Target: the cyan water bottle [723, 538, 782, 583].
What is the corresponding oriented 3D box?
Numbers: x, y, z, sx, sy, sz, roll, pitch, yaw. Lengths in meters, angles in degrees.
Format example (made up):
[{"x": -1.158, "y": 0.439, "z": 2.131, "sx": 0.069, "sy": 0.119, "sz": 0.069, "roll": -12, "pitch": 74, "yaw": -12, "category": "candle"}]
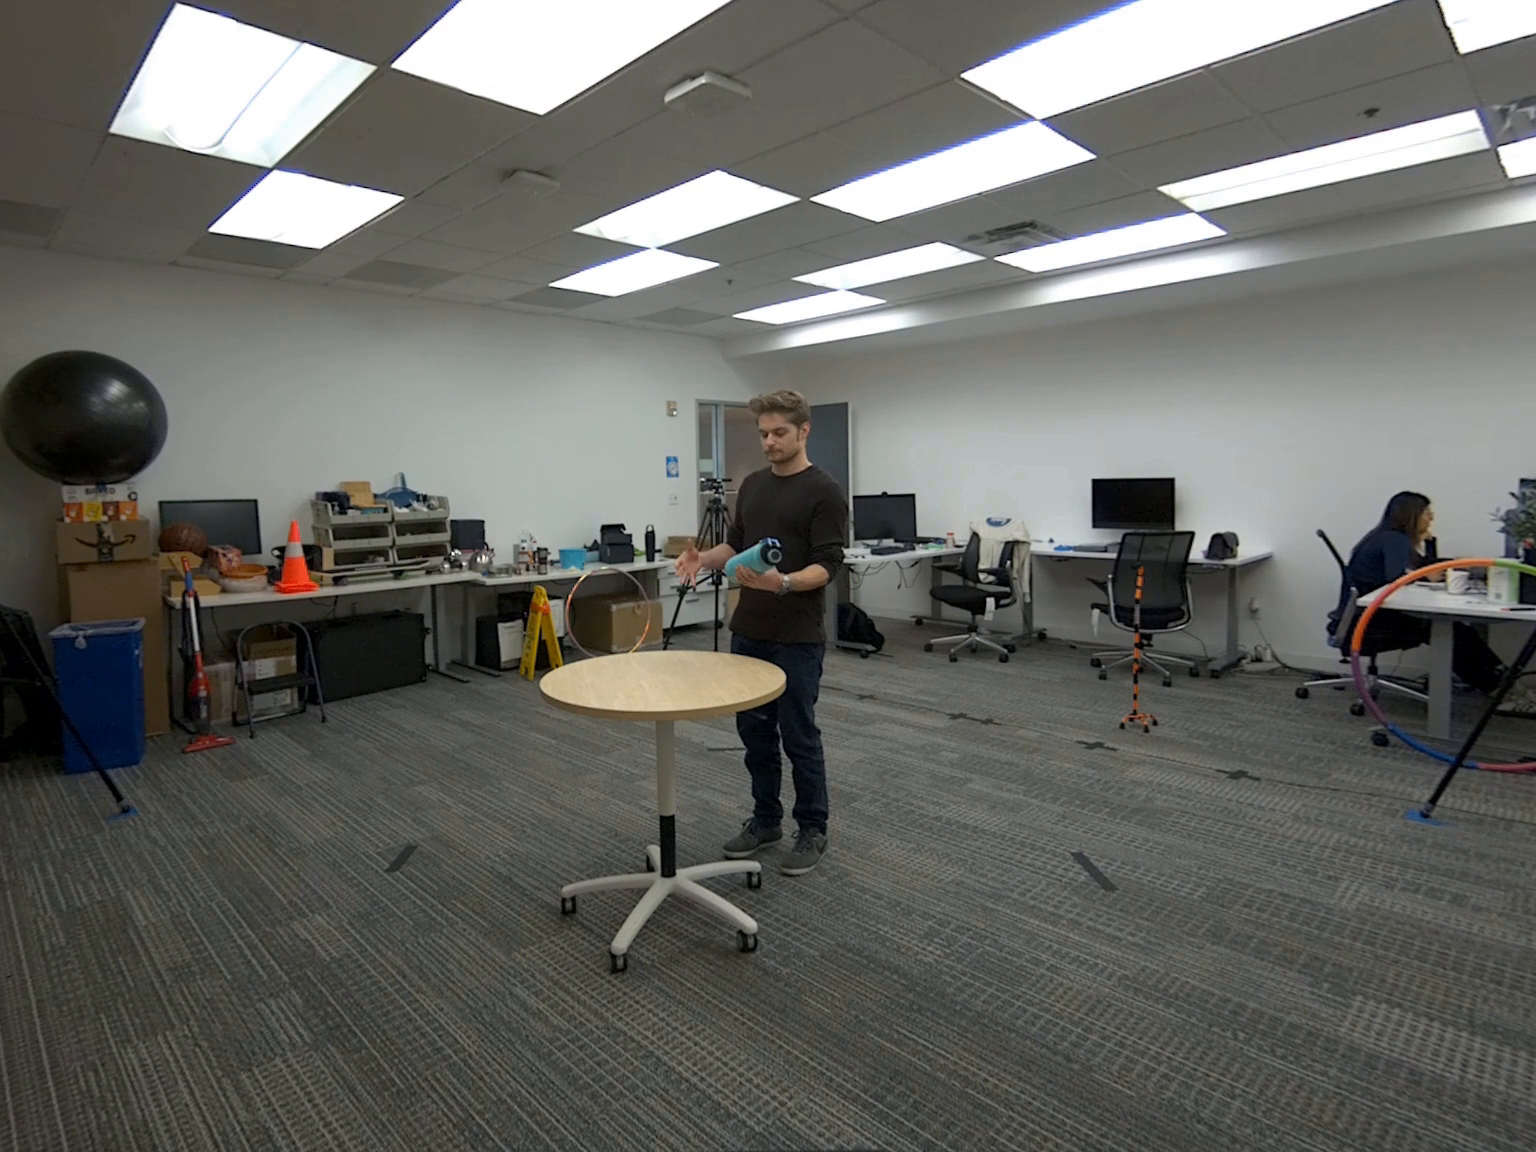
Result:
[{"x": -0.044, "y": -0.051, "z": 2.776, "sx": 0.090, "sy": 0.093, "sz": 0.285, "roll": -3, "pitch": -13, "yaw": -26, "category": "cyan water bottle"}]
